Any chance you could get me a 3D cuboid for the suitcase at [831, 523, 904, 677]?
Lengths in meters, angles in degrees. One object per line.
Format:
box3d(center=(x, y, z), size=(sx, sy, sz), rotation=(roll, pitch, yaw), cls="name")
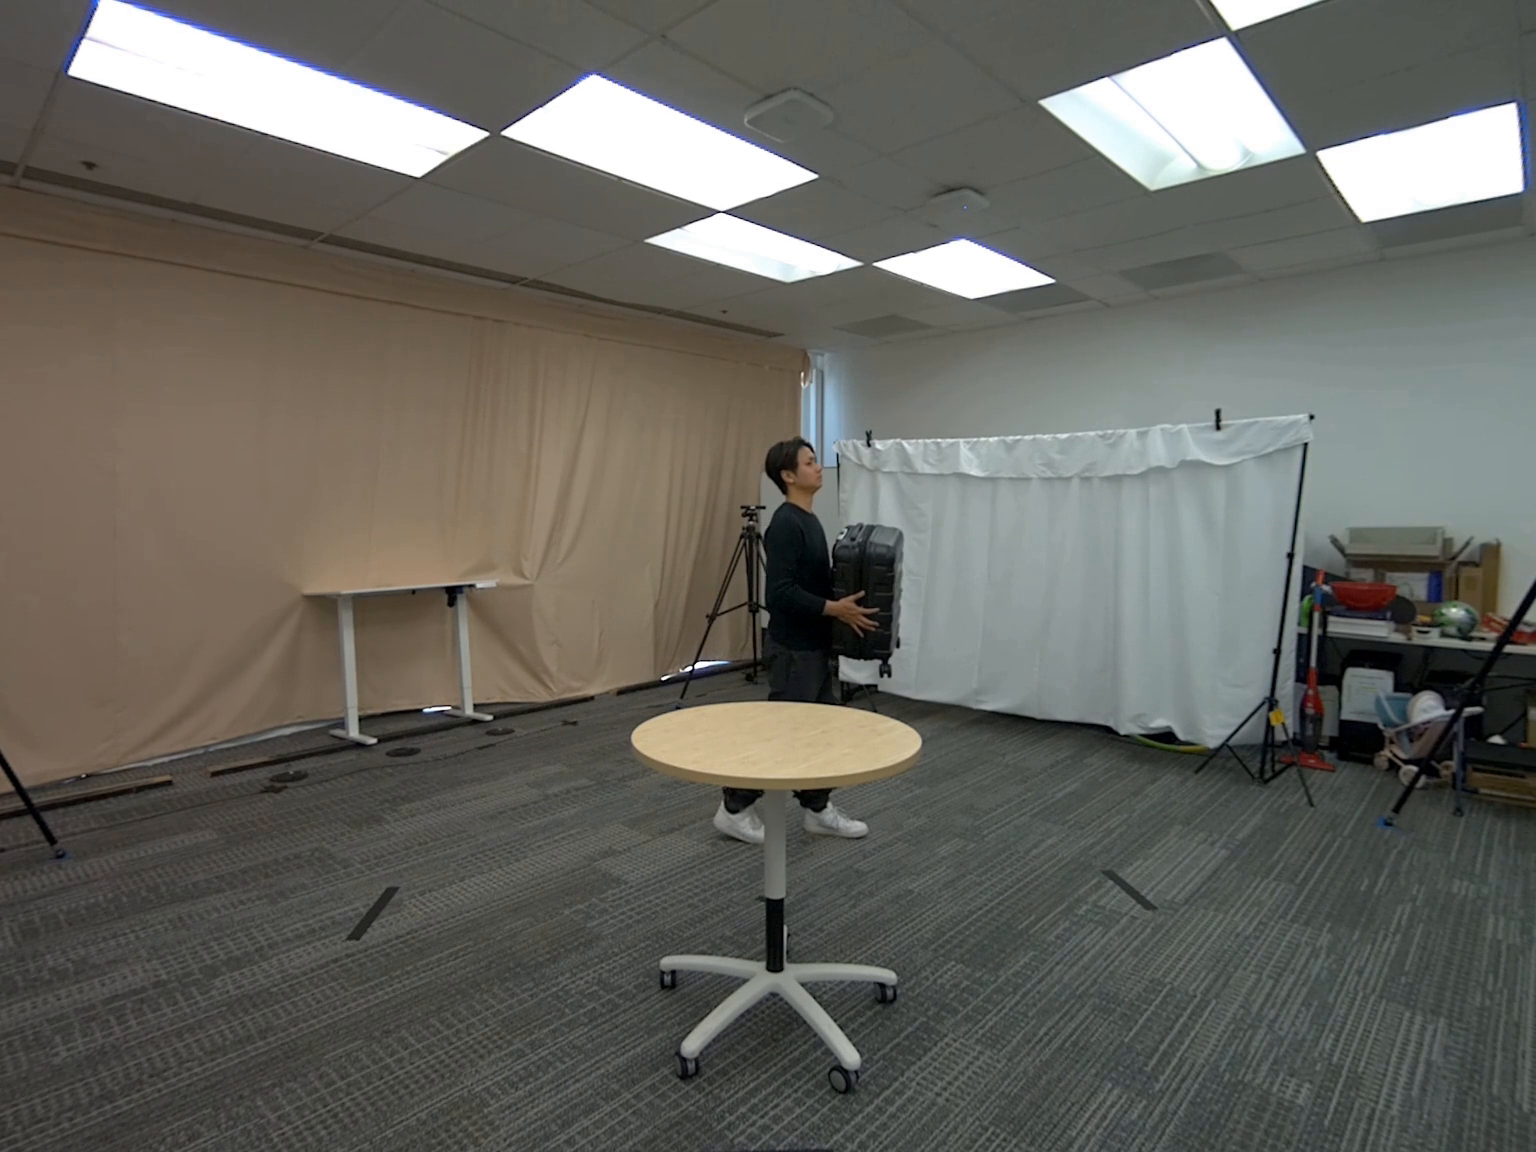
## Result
box3d(center=(0.409, 0.075, 3.425), size=(0.253, 0.544, 0.372), rotation=(5, 17, 15), cls="suitcase")
